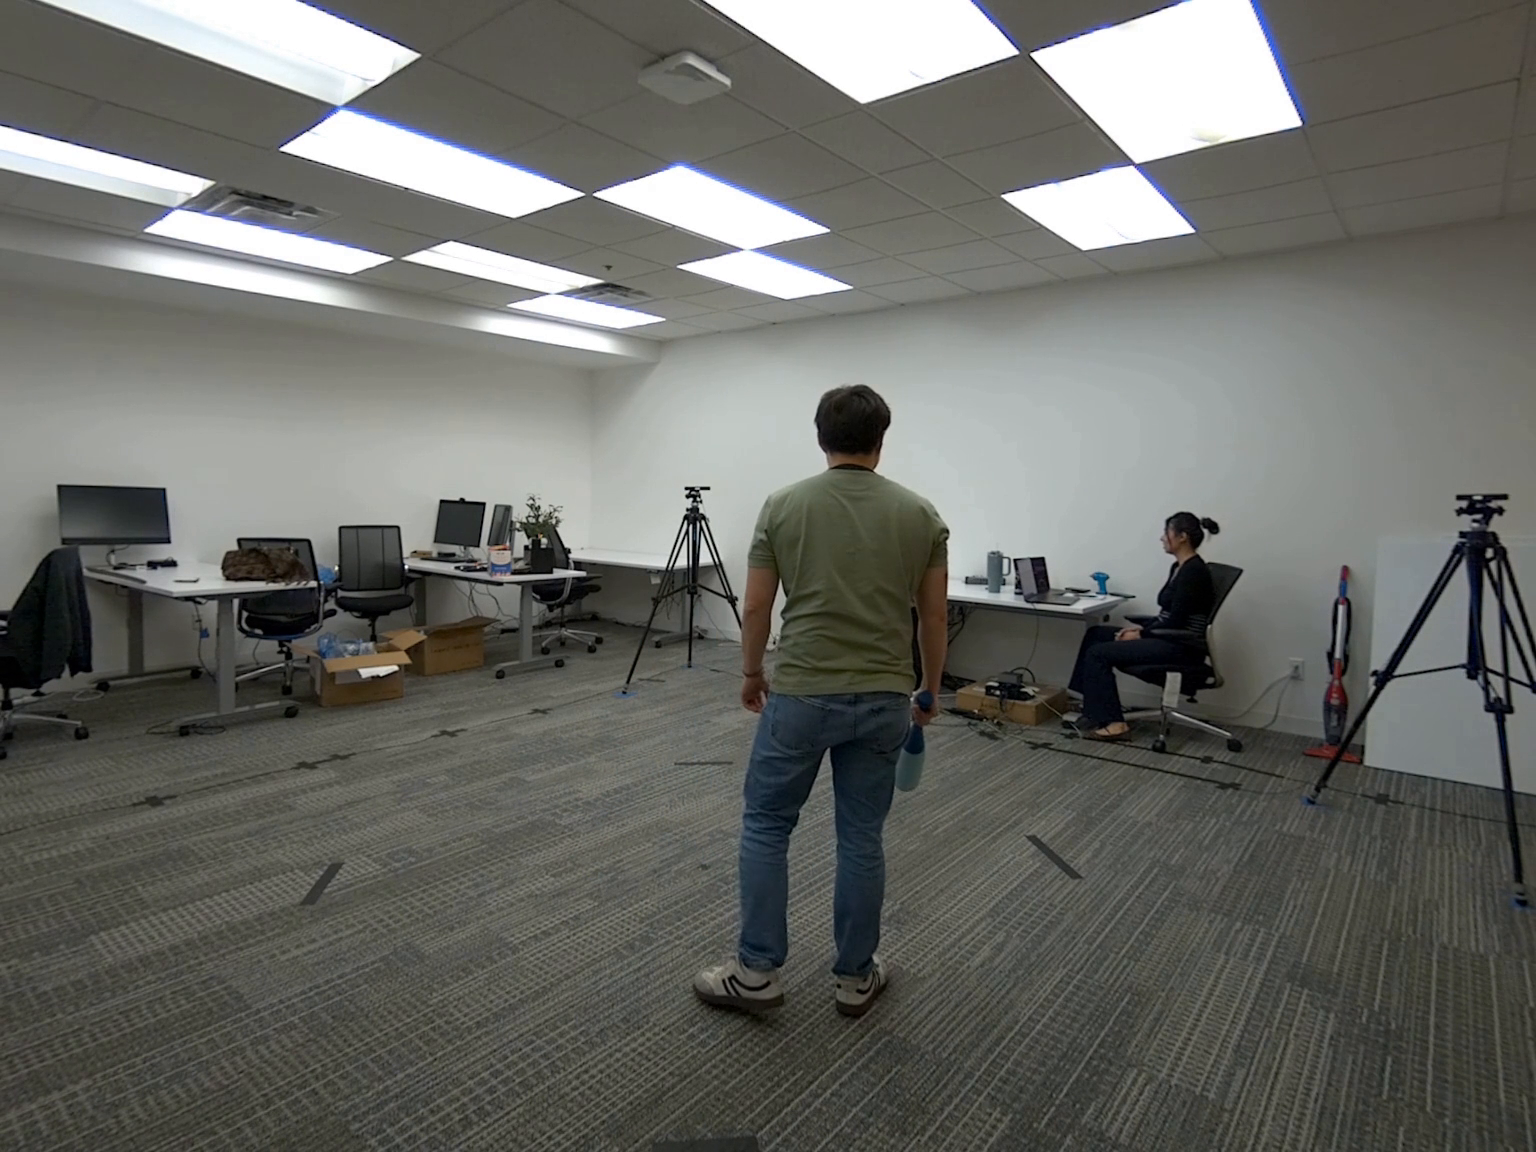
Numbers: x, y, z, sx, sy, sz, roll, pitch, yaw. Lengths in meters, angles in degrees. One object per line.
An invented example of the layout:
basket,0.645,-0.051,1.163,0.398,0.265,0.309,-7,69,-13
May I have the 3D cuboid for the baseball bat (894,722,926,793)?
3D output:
baseball bat,0.417,0.501,2.567,0.090,0.091,0.525,2,-39,7
